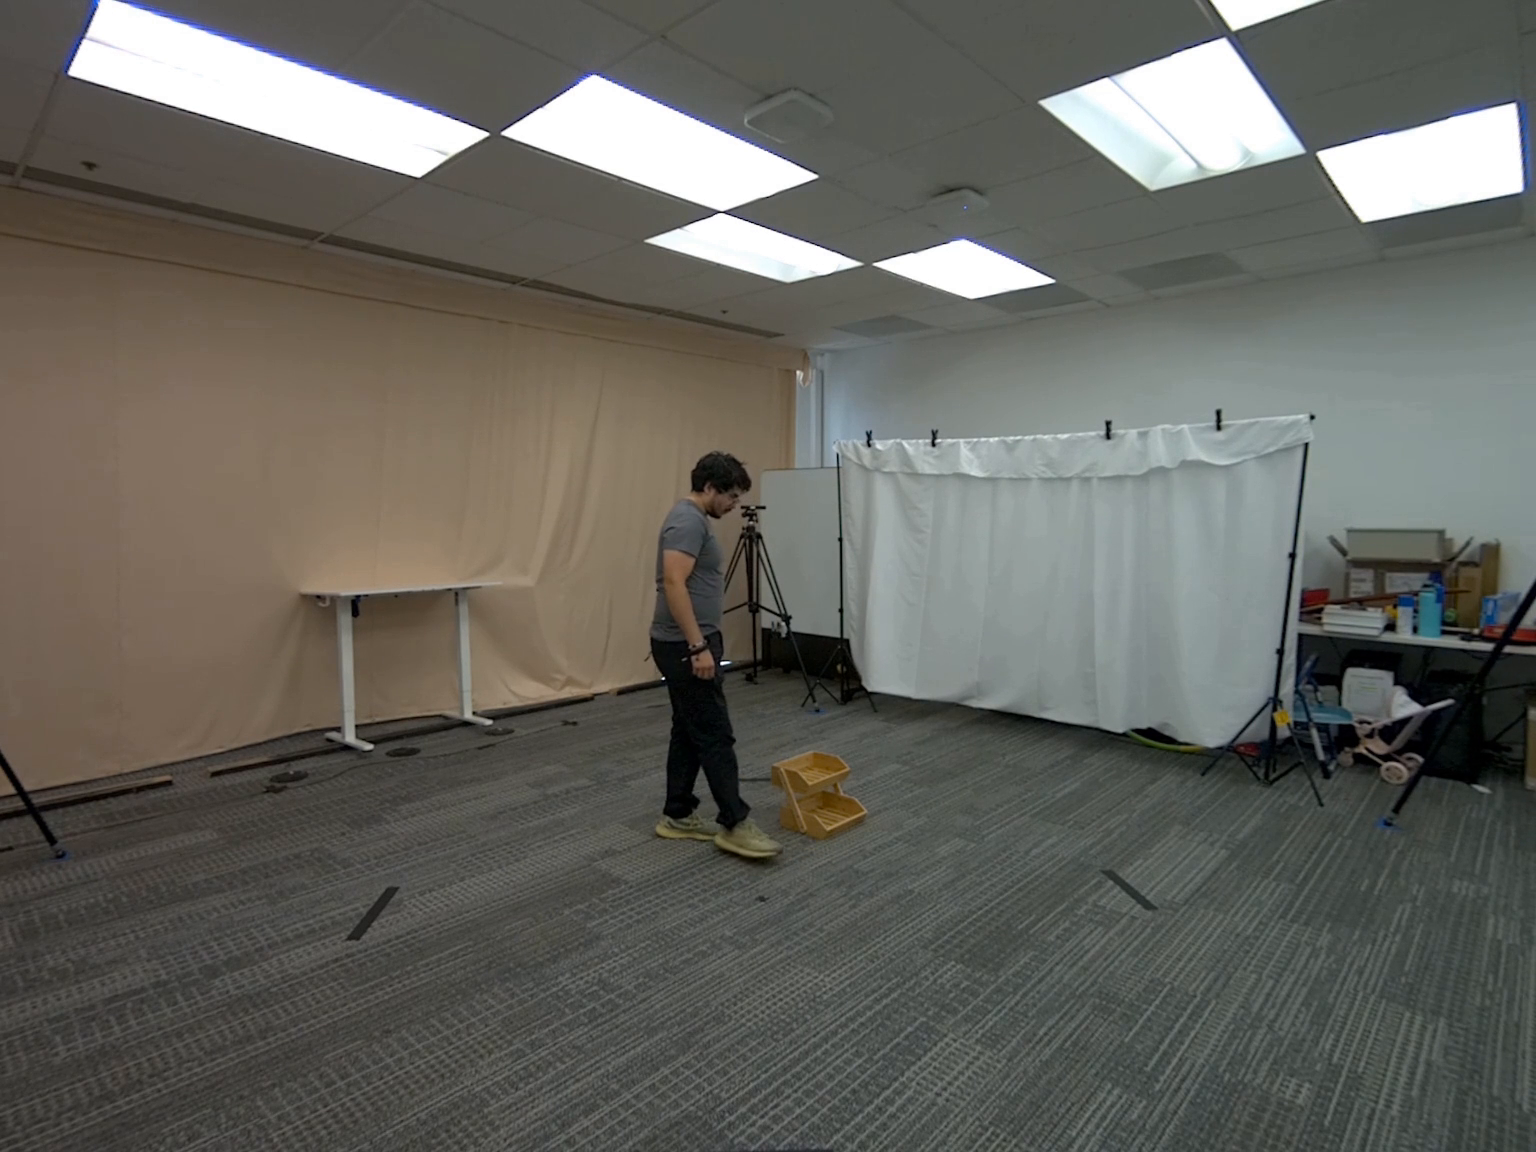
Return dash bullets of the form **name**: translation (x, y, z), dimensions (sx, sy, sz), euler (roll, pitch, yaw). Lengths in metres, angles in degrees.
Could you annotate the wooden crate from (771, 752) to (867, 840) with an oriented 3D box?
- **wooden crate**: translation (0.230, 0.951, 3.695), dimensions (0.312, 0.273, 0.314), euler (3, 5, 42)
